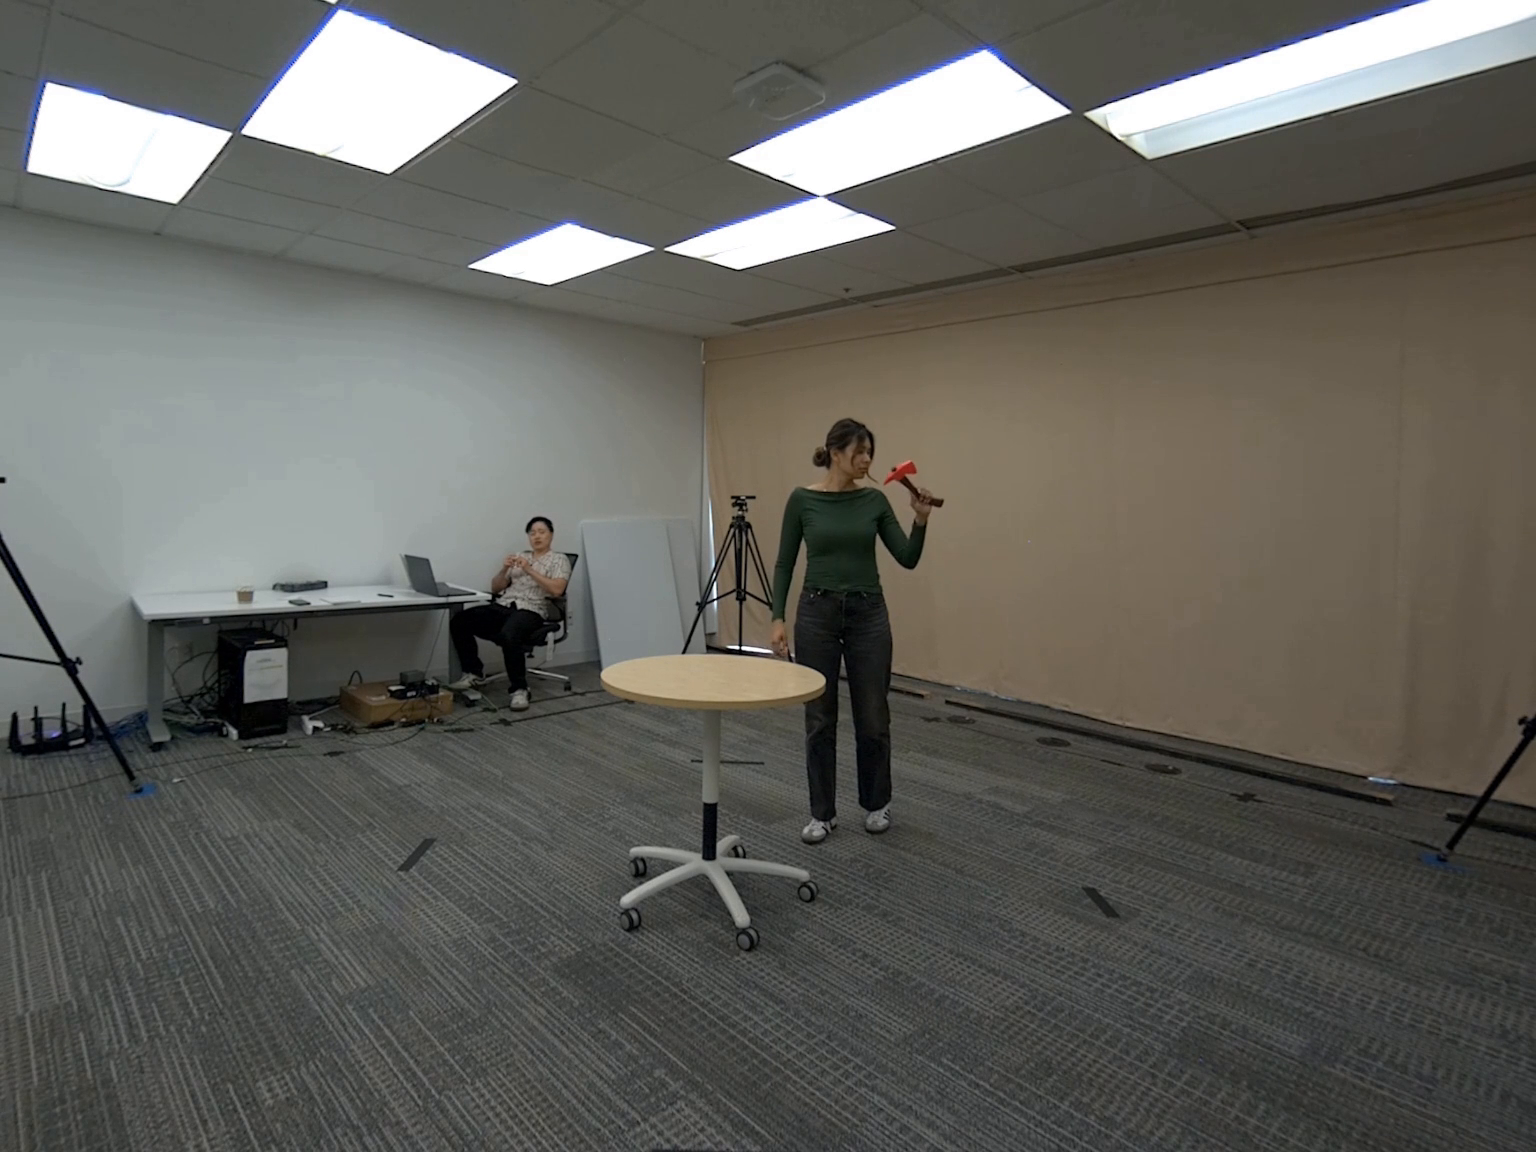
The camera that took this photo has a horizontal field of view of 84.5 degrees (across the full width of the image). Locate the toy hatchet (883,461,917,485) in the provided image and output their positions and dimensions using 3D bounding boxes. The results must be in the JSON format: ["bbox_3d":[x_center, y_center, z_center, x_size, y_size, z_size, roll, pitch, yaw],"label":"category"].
[{"bbox_3d":[0.566,-0.358,3.202,0.265,0.130,0.030,18,30,-18],"label":"toy hatchet"}]
